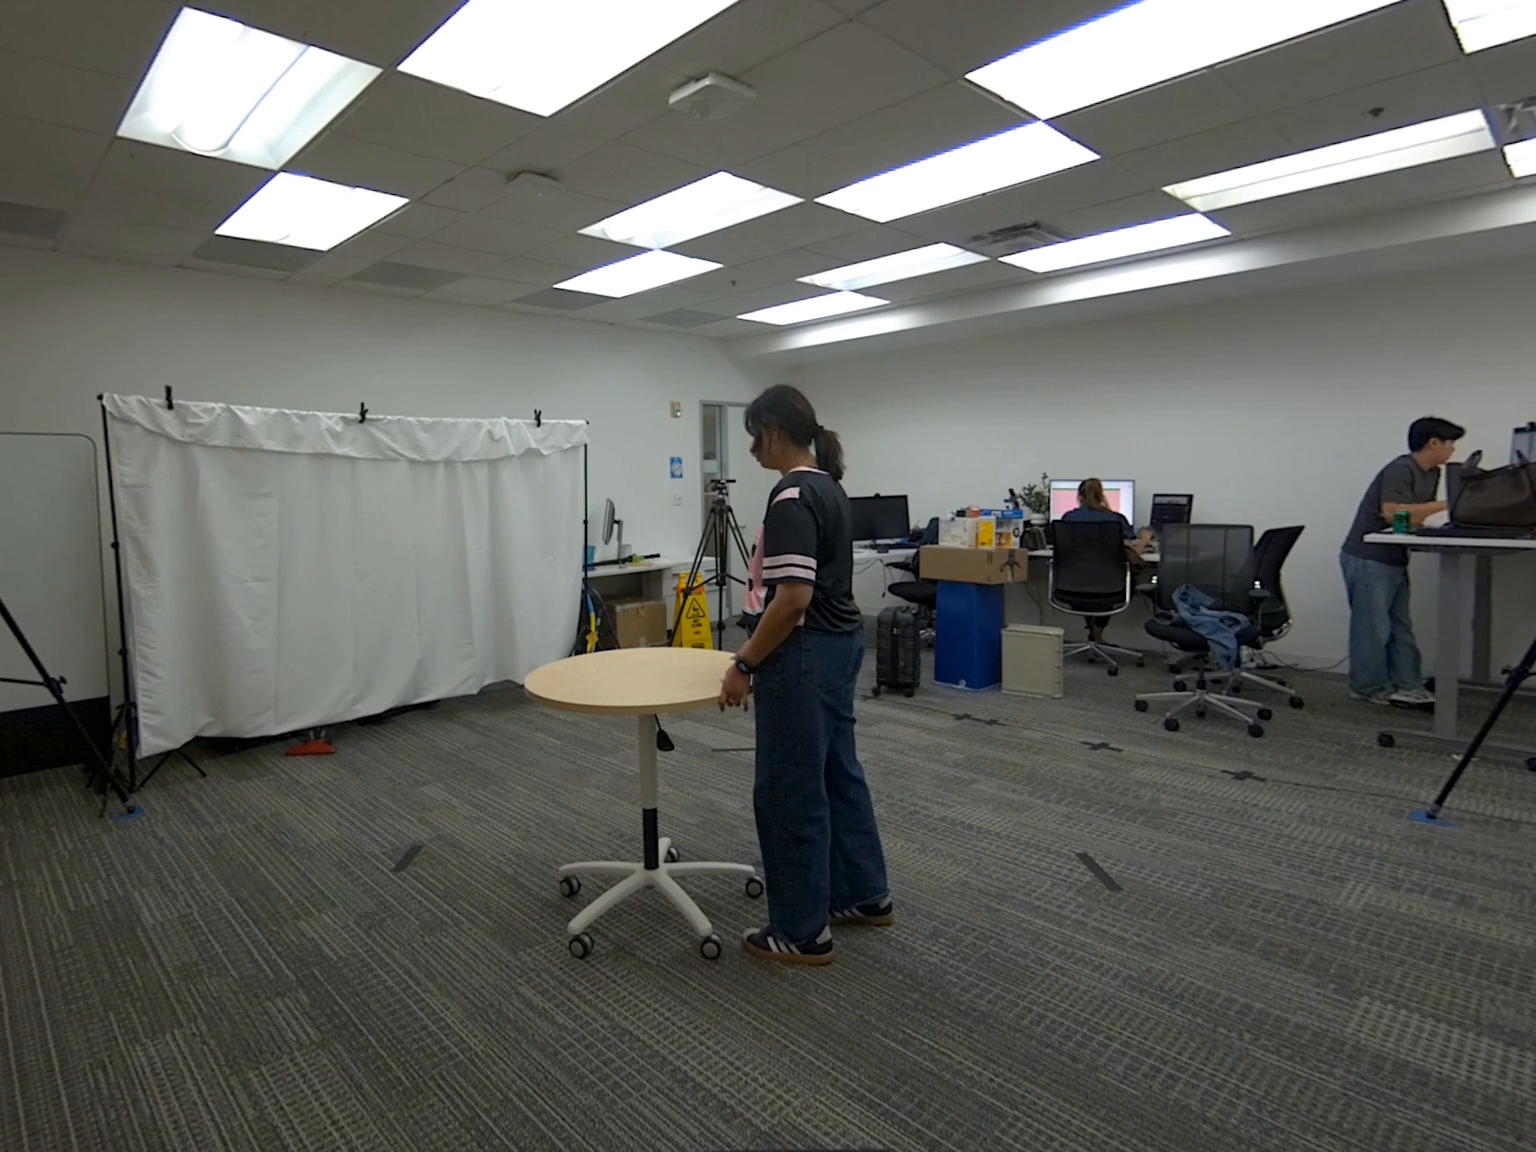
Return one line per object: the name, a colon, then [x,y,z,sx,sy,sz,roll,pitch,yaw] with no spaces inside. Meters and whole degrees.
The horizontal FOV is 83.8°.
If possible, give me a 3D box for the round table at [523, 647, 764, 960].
round table: [-0.383,0.703,2.777,0.763,0.790,0.769,-1,6,-2]
